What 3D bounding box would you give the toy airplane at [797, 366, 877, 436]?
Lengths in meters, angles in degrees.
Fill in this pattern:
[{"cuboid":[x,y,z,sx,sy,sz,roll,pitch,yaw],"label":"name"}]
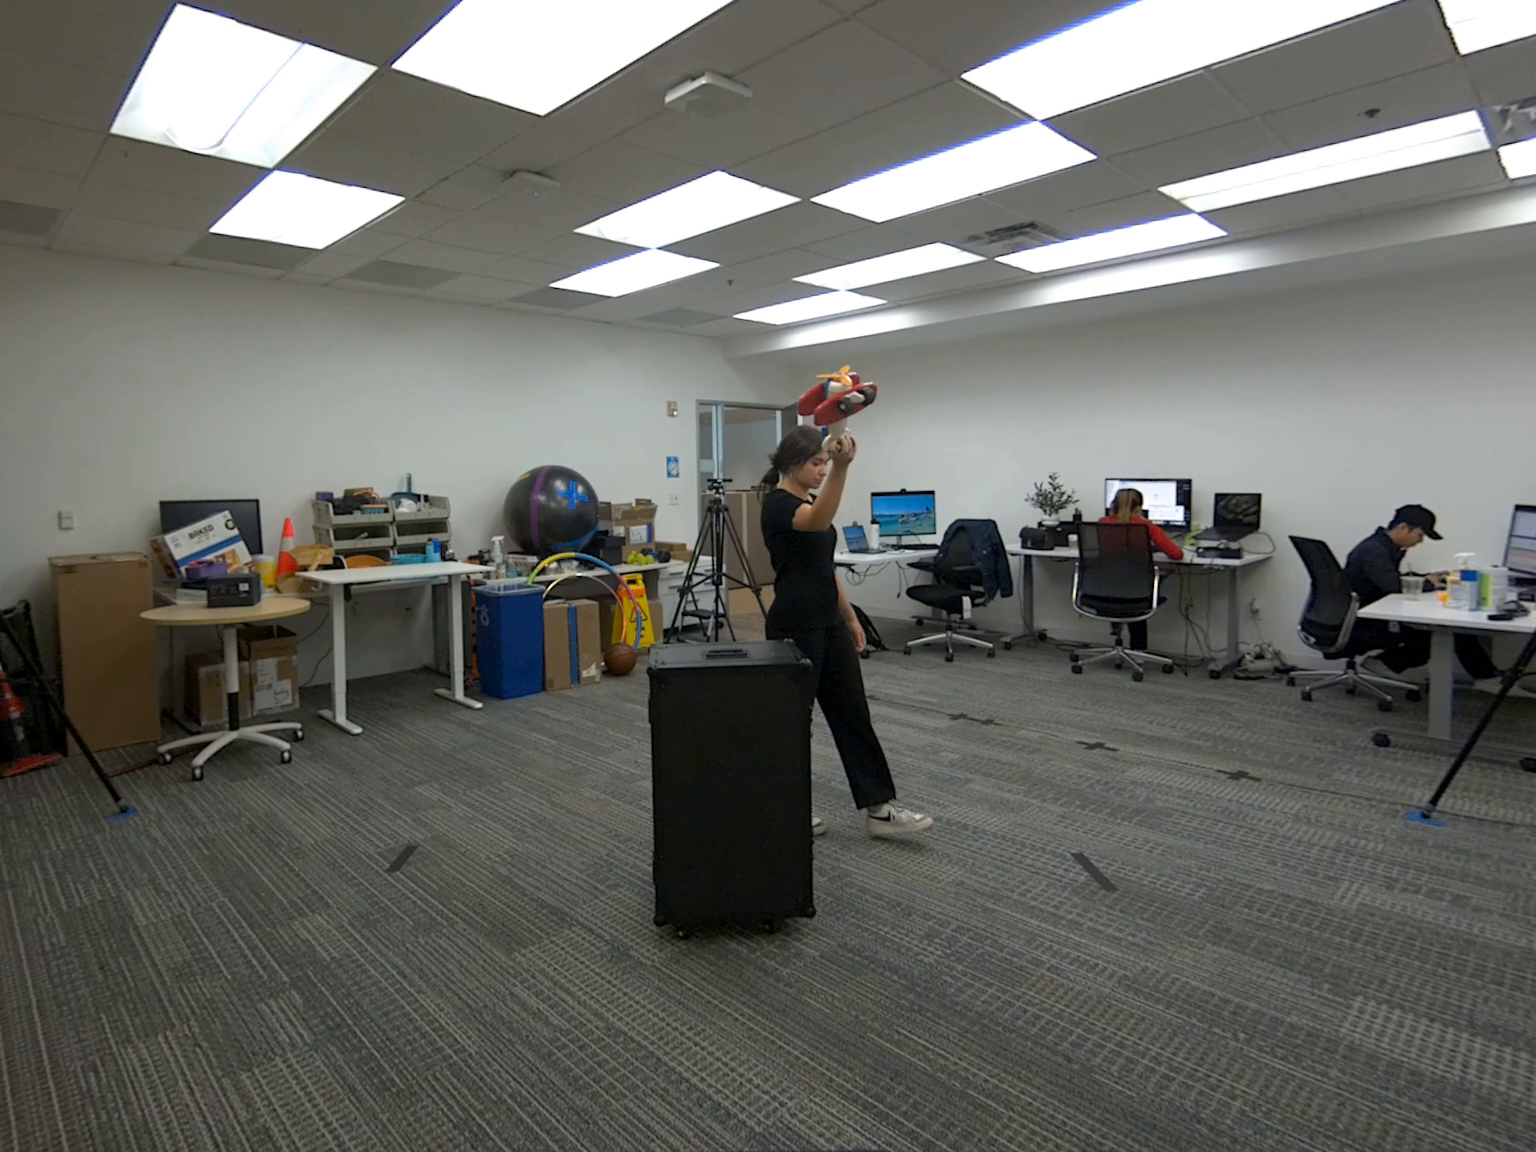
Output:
[{"cuboid":[0.214,-0.511,2.677,0.244,0.258,0.161,-6,48,-50],"label":"toy airplane"}]
